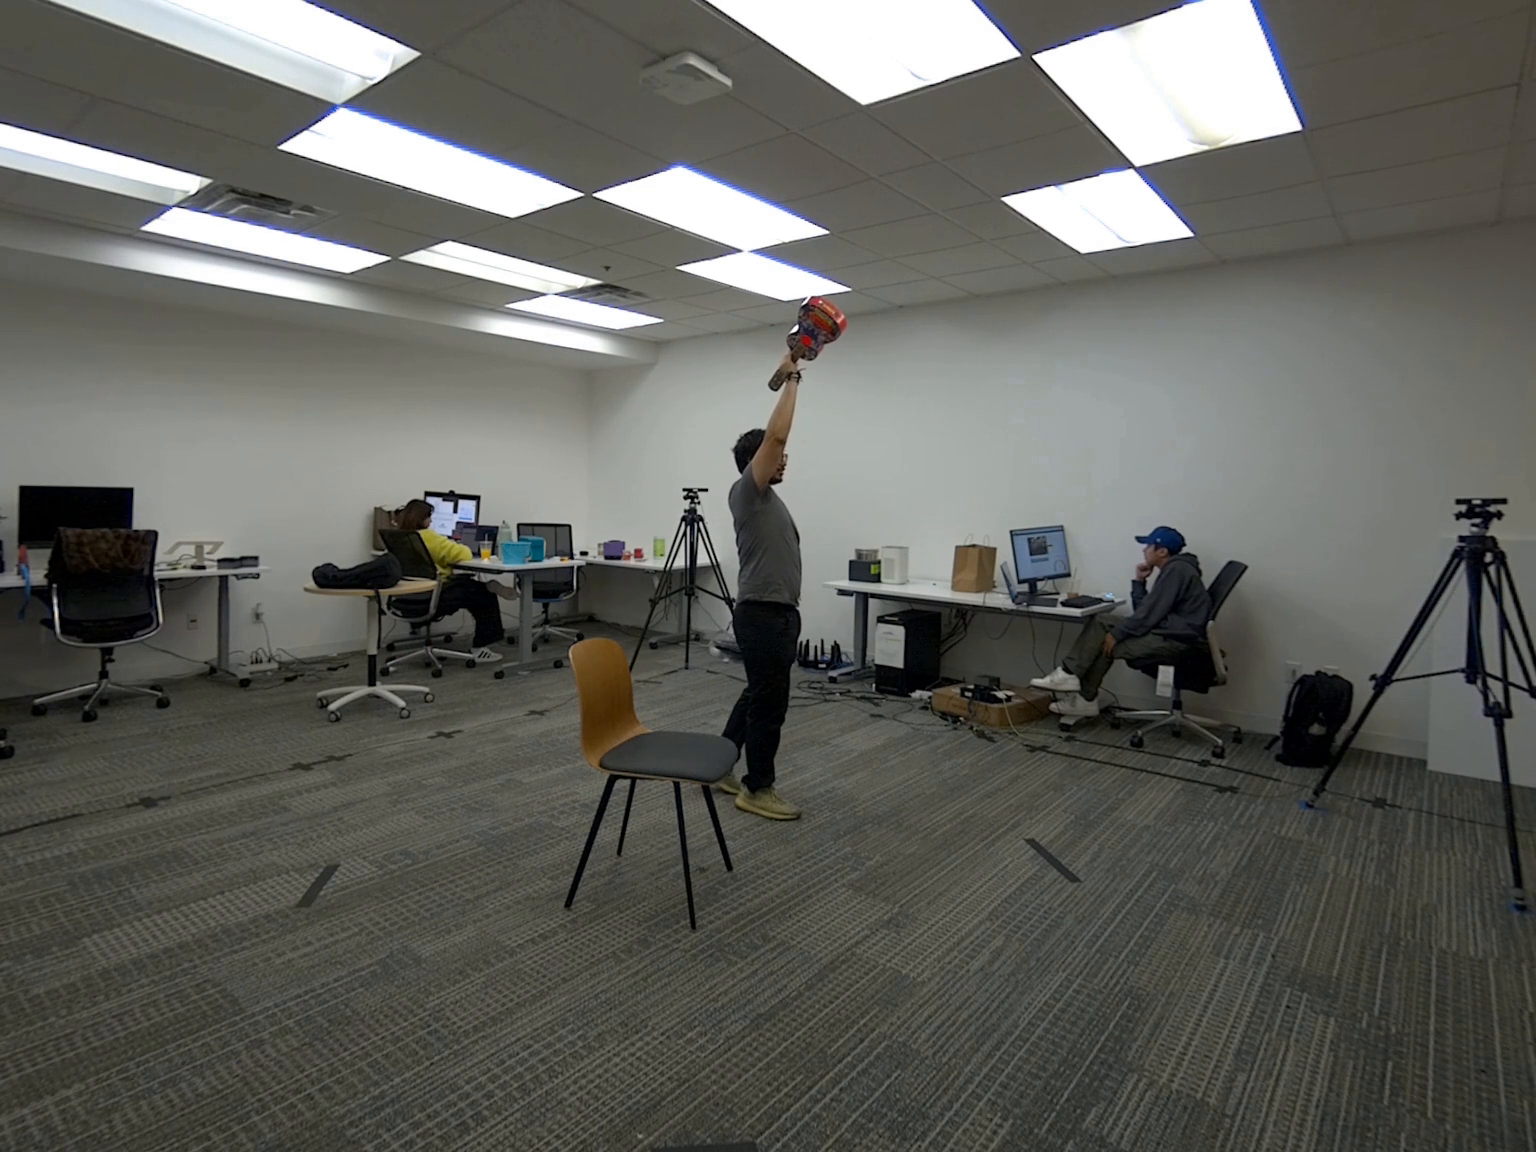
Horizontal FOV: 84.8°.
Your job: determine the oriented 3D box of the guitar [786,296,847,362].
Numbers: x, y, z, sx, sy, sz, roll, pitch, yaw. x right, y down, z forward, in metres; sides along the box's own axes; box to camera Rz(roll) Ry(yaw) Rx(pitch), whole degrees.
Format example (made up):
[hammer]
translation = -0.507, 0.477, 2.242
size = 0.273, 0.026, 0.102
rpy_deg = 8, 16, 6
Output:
[guitar]
translation = 0.103, -0.954, 3.499
size = 0.502, 0.190, 0.071
rpy_deg = -32, 18, 52
